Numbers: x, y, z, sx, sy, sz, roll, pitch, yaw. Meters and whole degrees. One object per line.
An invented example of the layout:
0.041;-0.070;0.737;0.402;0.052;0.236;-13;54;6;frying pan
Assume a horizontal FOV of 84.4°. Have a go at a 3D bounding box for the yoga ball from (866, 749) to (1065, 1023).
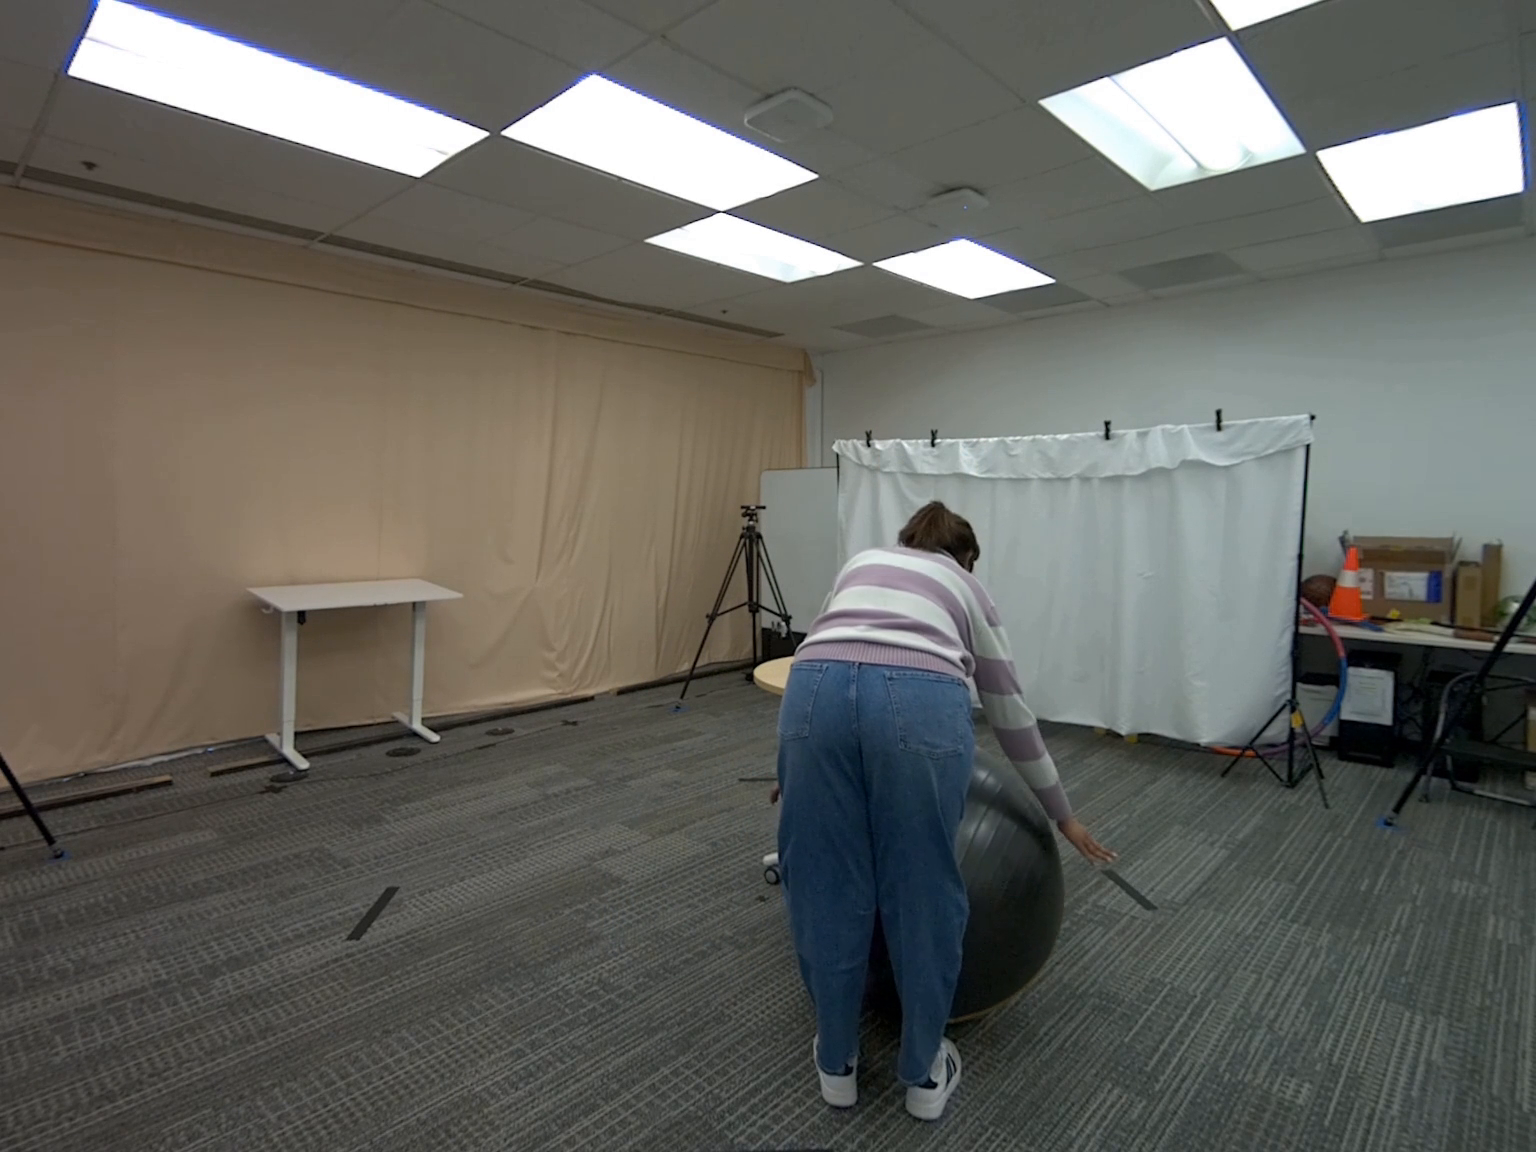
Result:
0.428;0.829;2.354;0.757;0.756;0.760;0;4;-2;yoga ball
